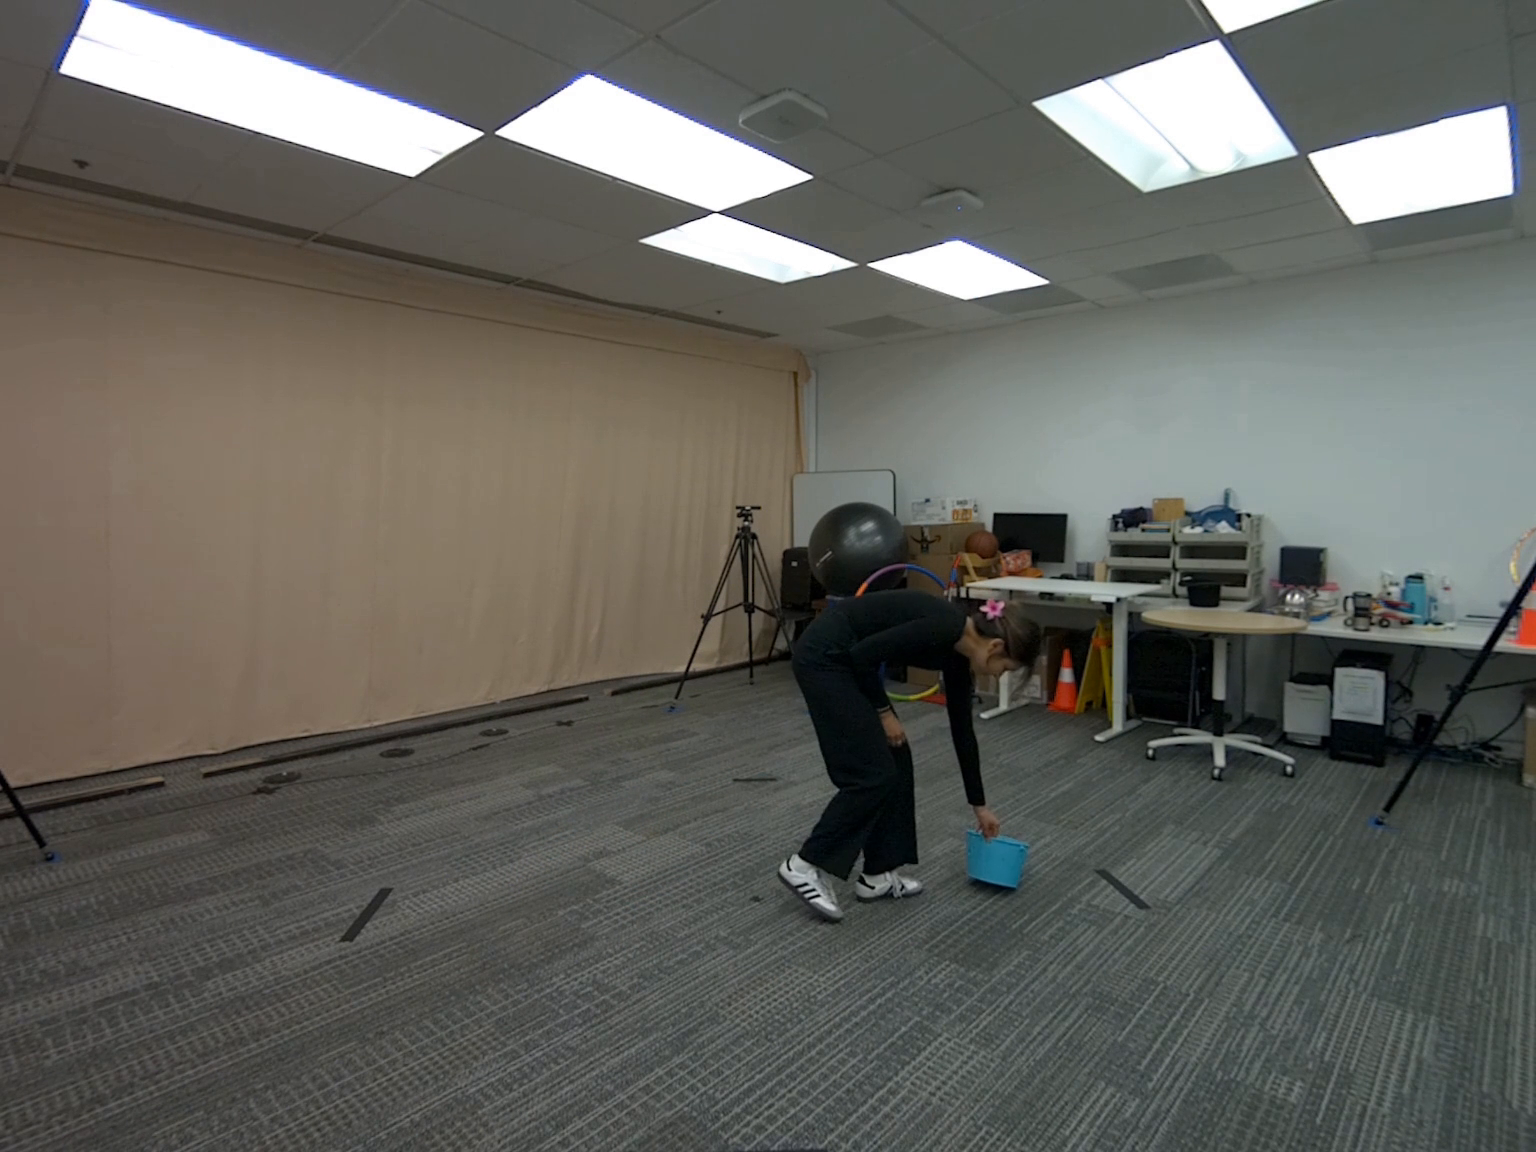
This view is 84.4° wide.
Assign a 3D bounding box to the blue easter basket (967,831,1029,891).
[{"bbox_3d":[0.844,1.041,3.086,0.244,0.156,0.242,11,-8,0],"label":"blue easter basket"}]
